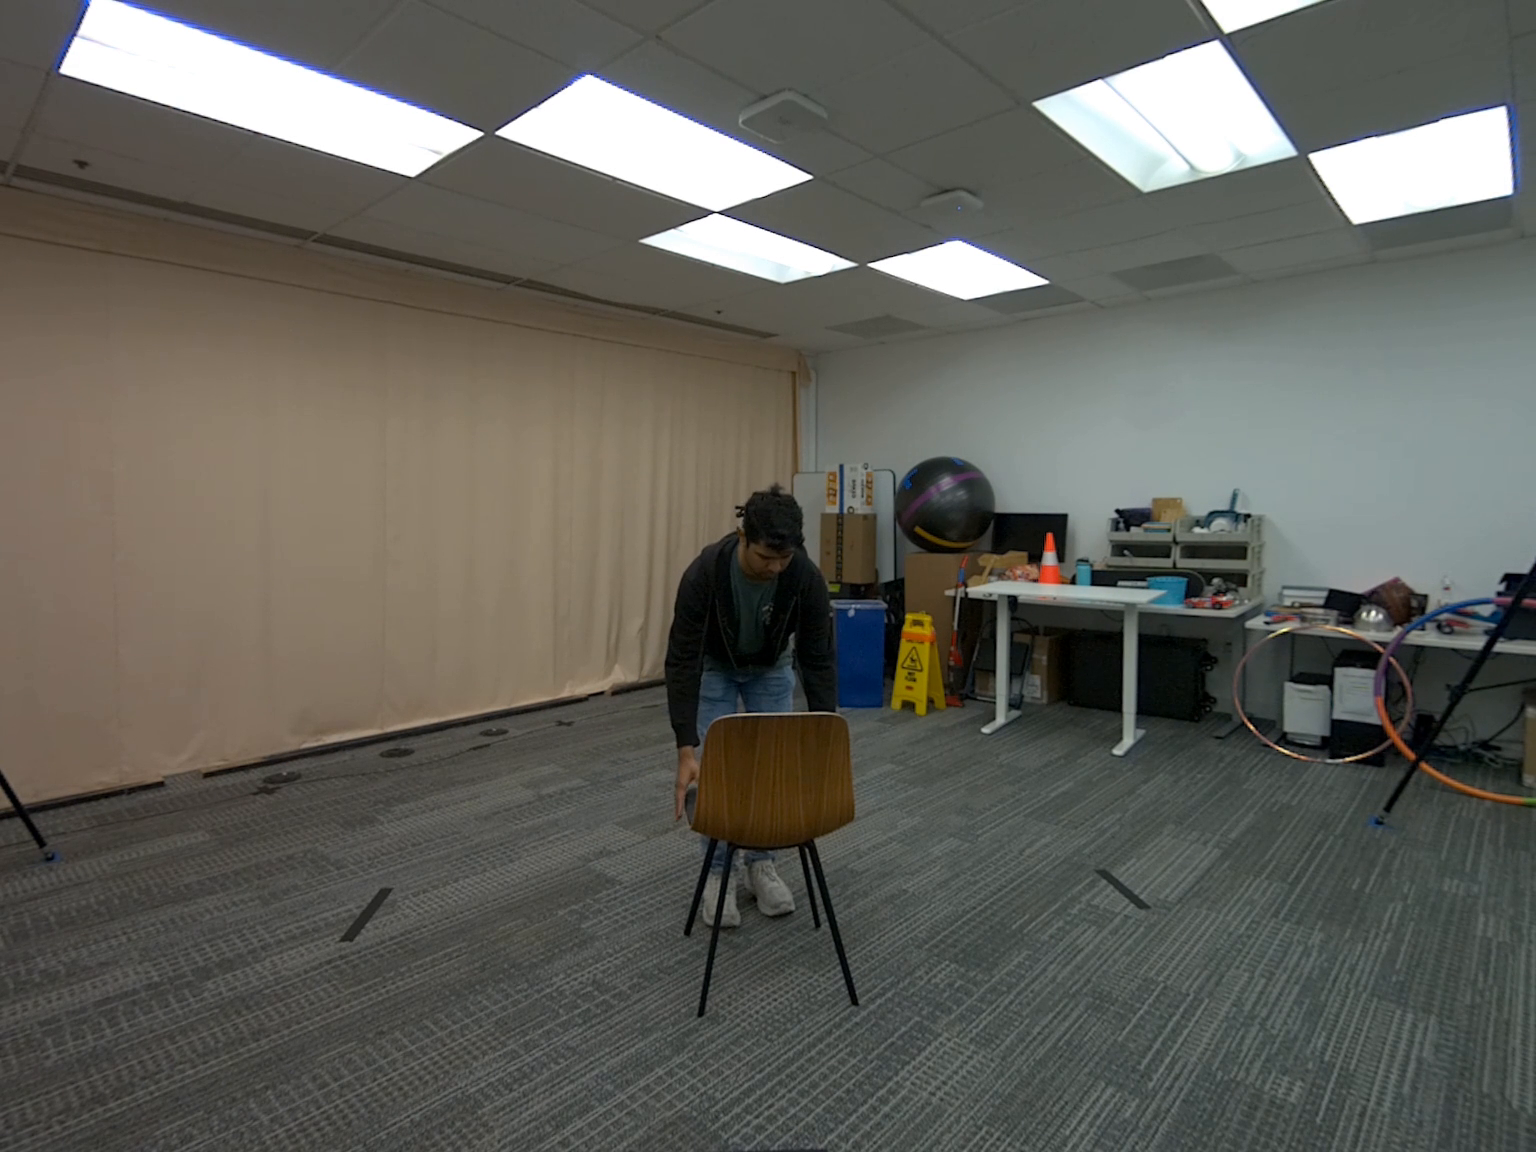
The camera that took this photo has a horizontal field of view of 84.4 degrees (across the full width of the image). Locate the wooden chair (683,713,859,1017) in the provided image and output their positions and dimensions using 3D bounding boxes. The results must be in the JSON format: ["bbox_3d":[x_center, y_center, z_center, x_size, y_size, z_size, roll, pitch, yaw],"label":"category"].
[{"bbox_3d":[-0.006,0.749,2.522,0.474,0.873,0.530,-1,8,-9],"label":"wooden chair"}]
